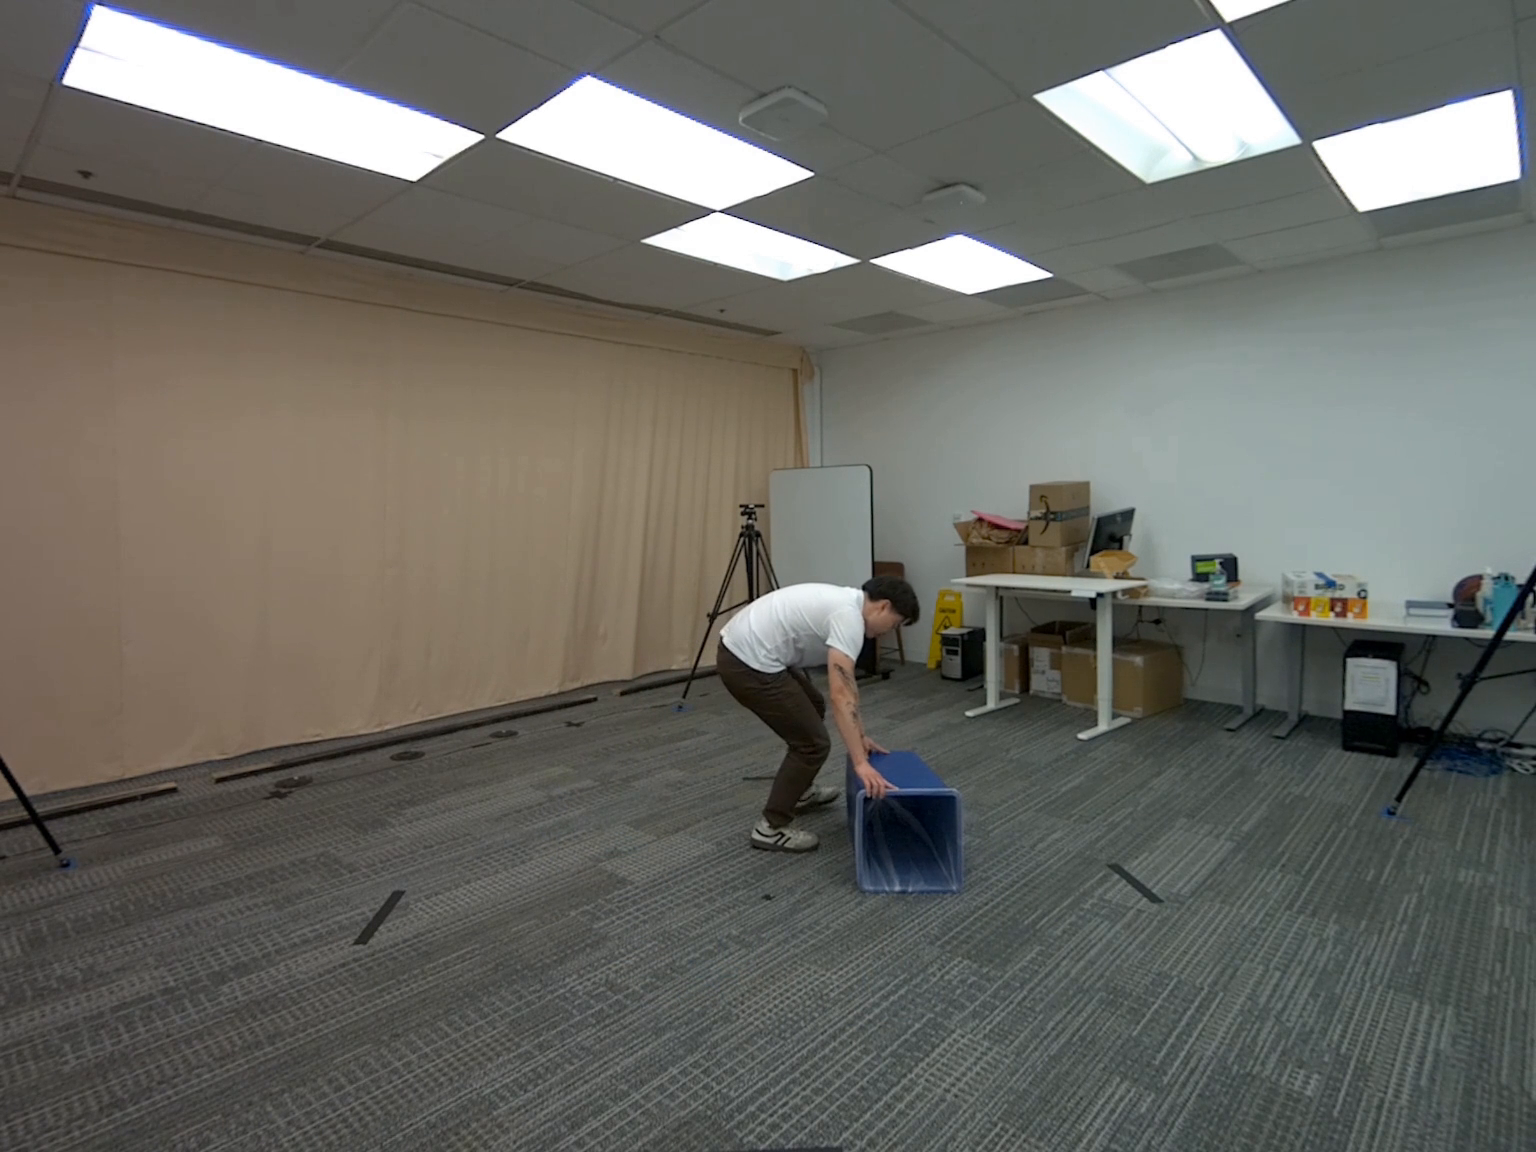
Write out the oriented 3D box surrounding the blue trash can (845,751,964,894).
[{"bbox_3d":[0.514,0.928,3.341,0.375,0.377,0.713,-3,2,0],"label":"blue trash can"}]
